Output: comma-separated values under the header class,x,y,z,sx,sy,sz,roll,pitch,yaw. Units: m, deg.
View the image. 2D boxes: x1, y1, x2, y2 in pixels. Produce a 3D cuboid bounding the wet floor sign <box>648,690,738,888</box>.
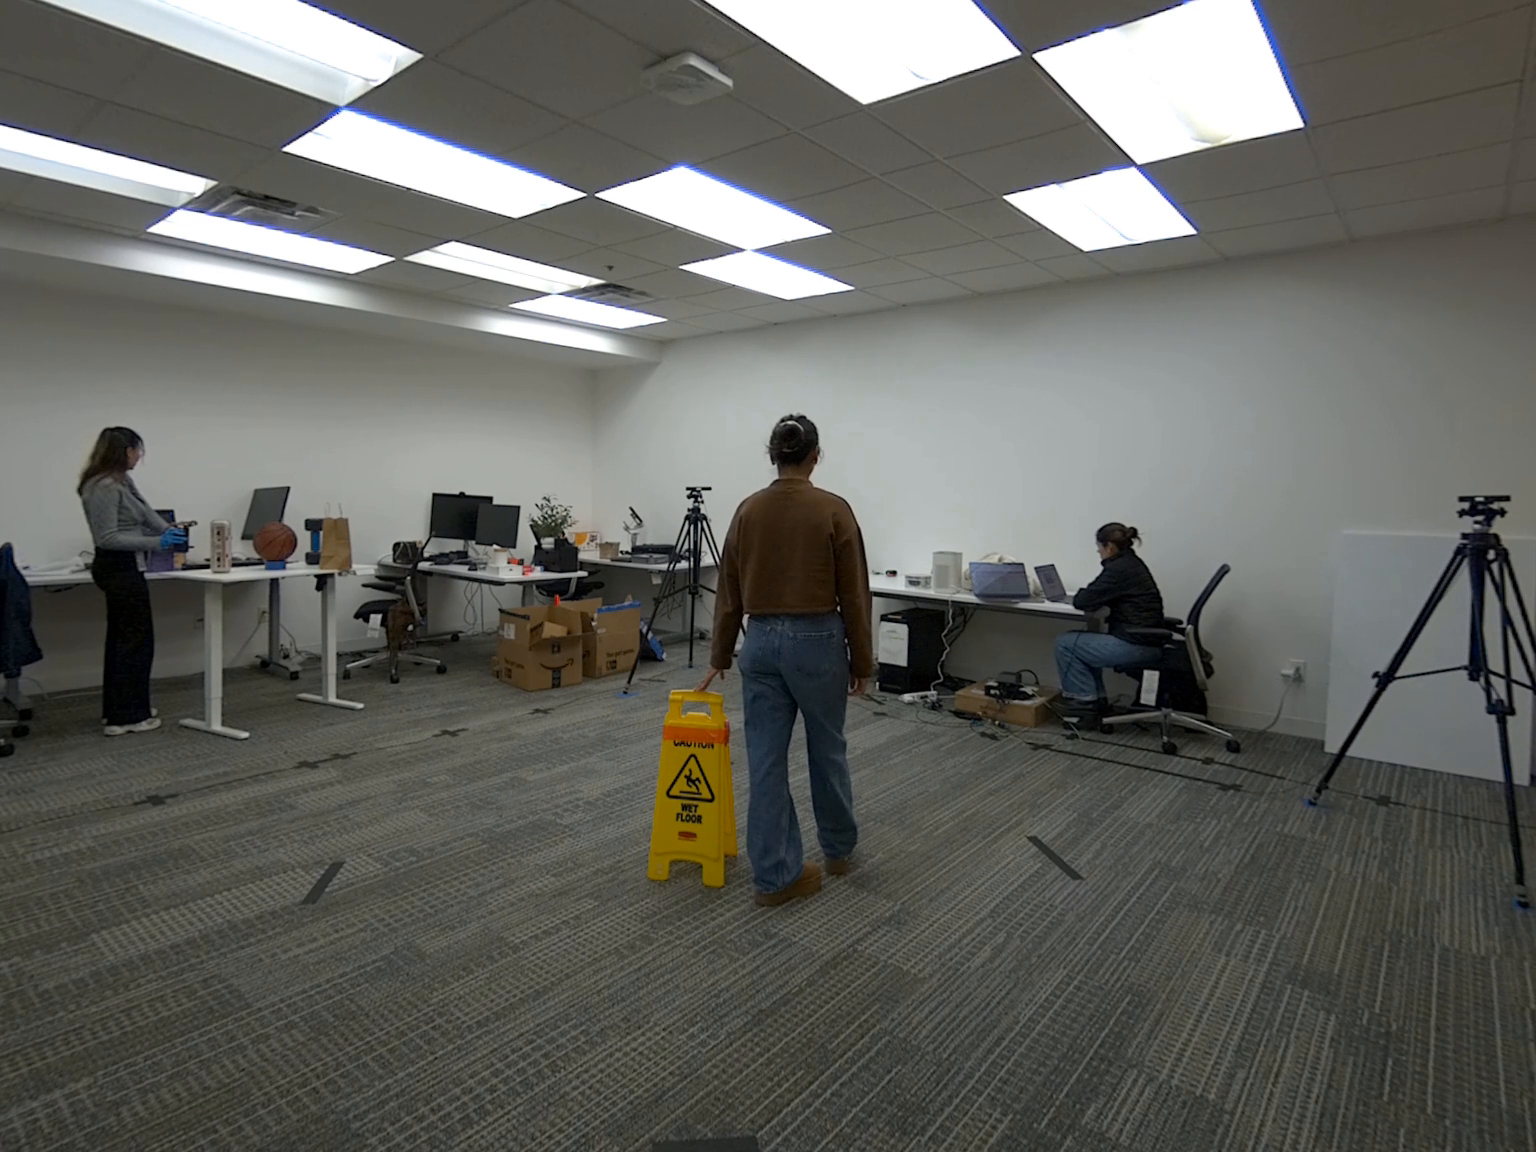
class,x,y,z,sx,sy,sz,roll,pitch,yaw
wet floor sign,-0.279,0.742,3.101,0.286,0.644,0.287,0,3,10
